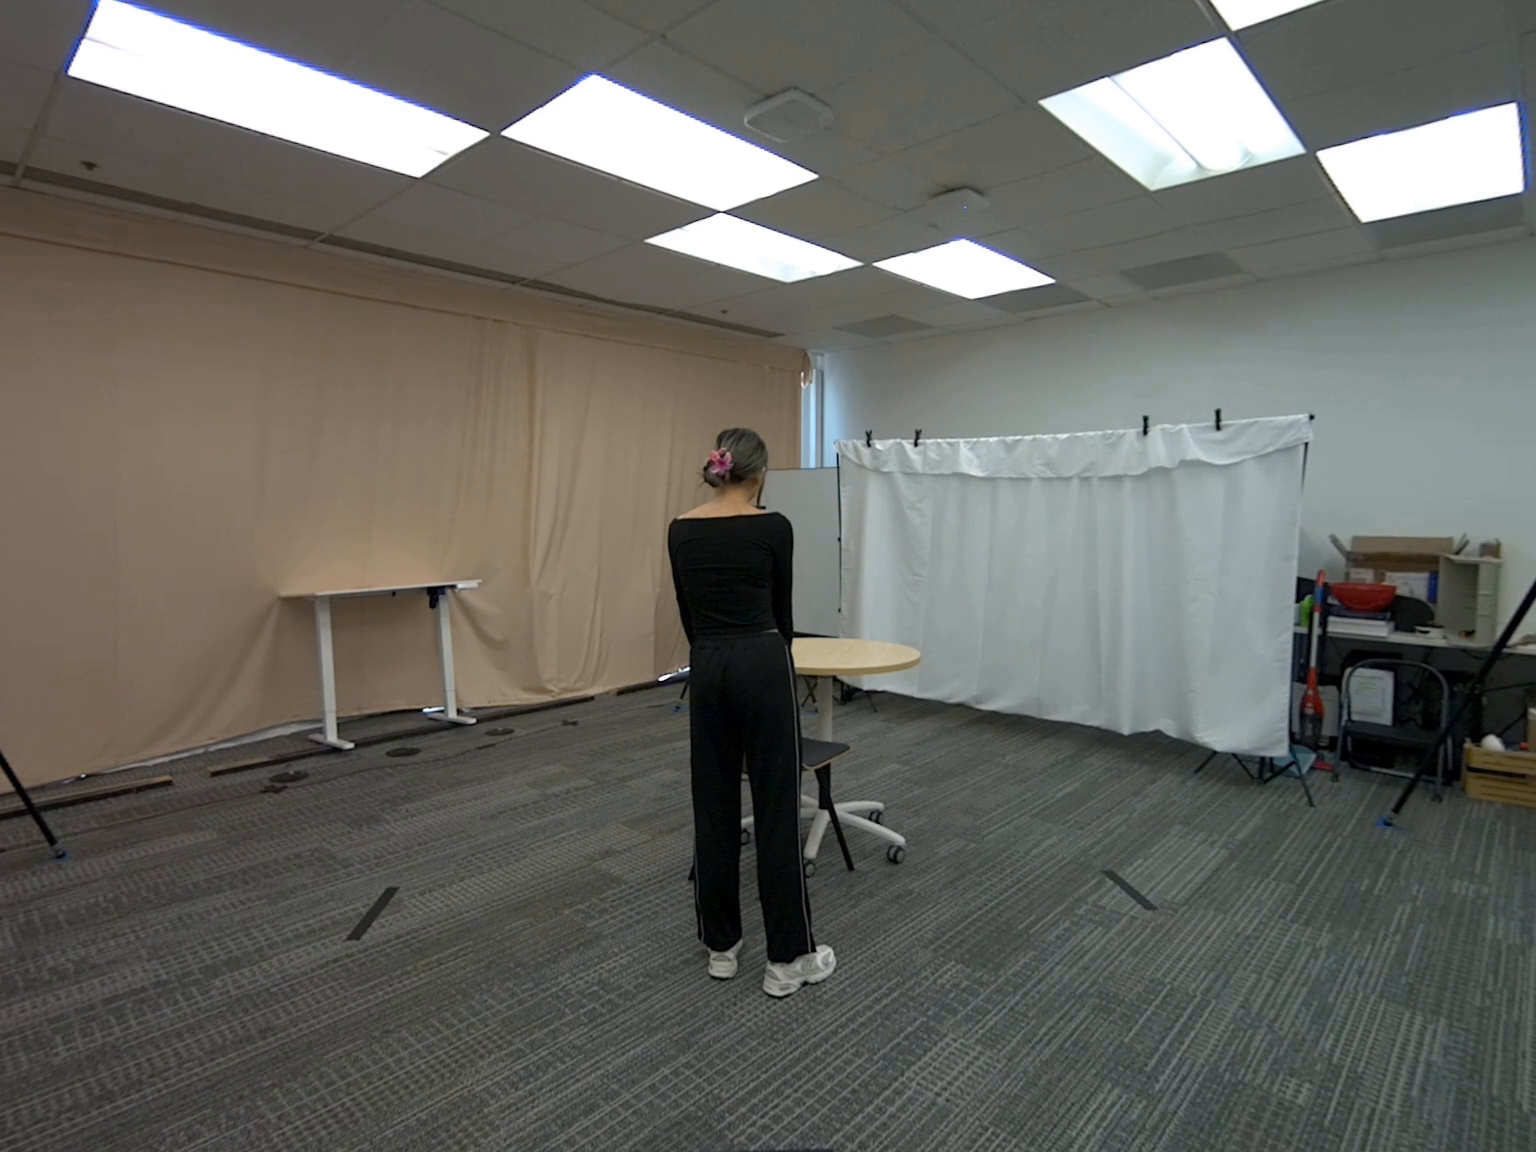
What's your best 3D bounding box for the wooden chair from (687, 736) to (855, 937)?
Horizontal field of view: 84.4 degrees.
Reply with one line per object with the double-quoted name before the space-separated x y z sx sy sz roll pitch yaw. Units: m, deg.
"wooden chair" 0.013 0.698 3.141 0.493 0.873 0.509 2 8 38
